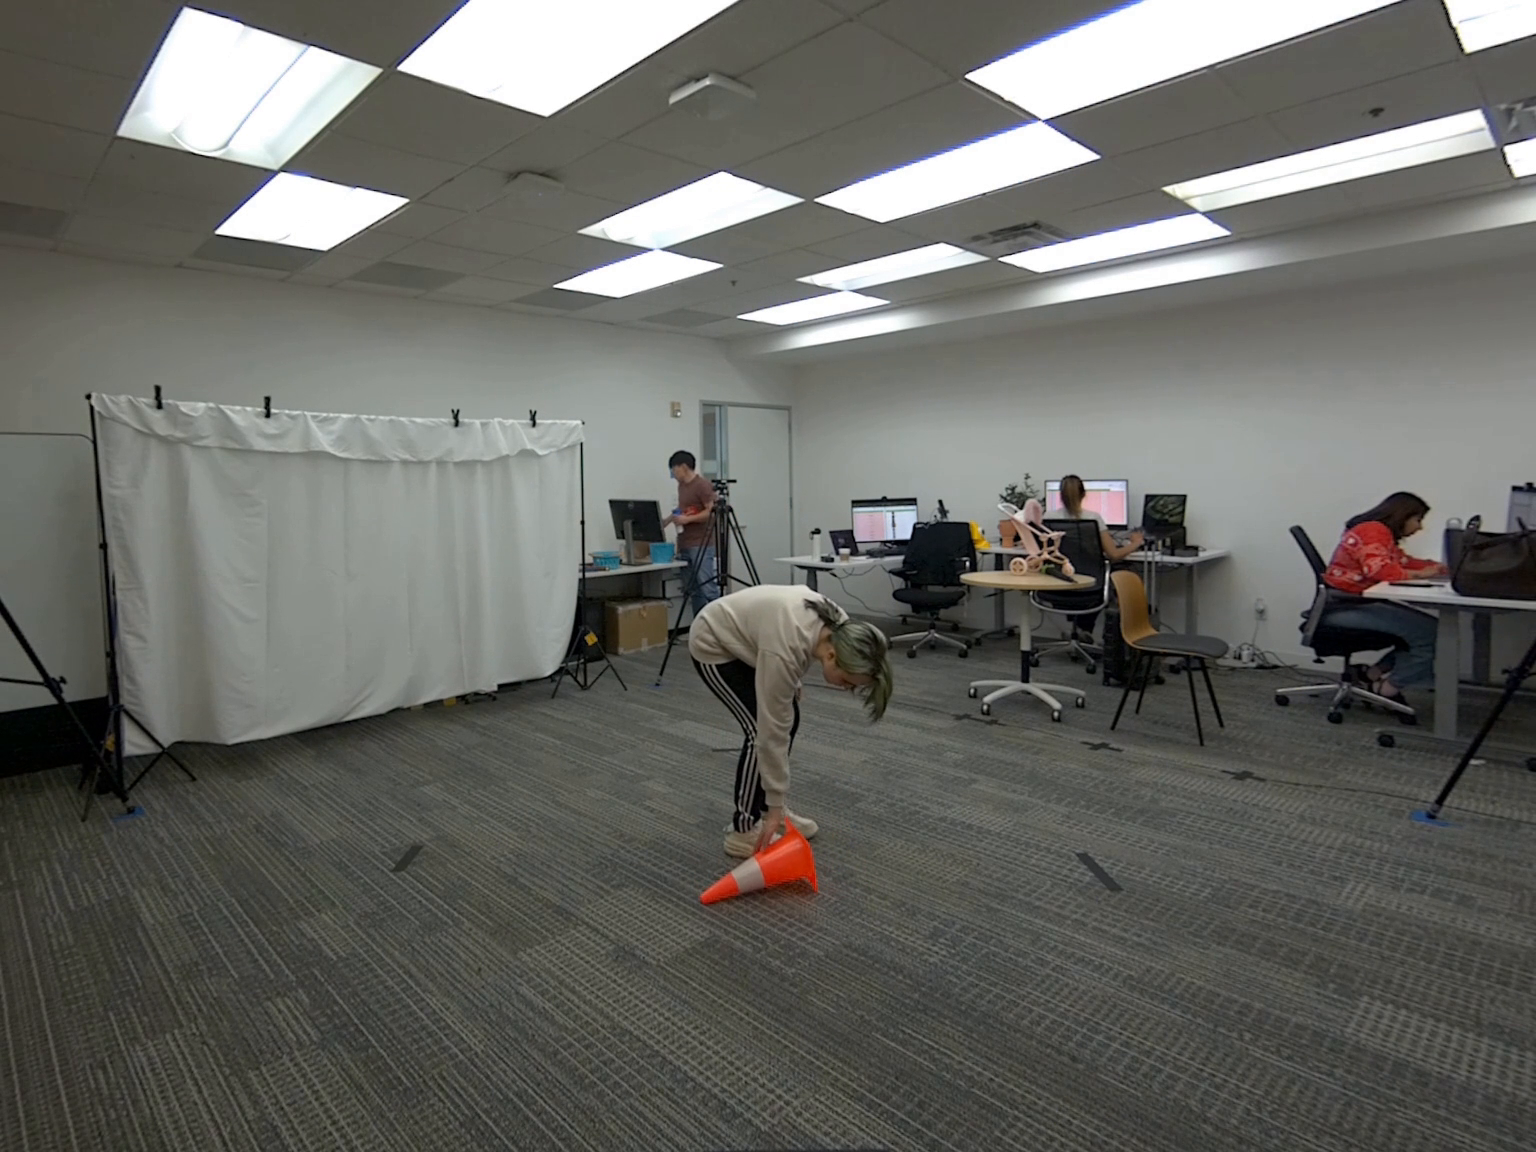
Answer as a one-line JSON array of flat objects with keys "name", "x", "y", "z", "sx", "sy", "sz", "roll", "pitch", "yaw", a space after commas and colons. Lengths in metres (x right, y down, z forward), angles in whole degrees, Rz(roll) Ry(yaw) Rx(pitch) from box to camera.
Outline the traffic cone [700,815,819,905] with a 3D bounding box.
[{"name": "traffic cone", "x": -0.053, "y": 1.015, "z": 2.879, "sx": 0.379, "sy": 0.200, "sz": 0.210, "roll": -19, "pitch": 25, "yaw": -19}]
